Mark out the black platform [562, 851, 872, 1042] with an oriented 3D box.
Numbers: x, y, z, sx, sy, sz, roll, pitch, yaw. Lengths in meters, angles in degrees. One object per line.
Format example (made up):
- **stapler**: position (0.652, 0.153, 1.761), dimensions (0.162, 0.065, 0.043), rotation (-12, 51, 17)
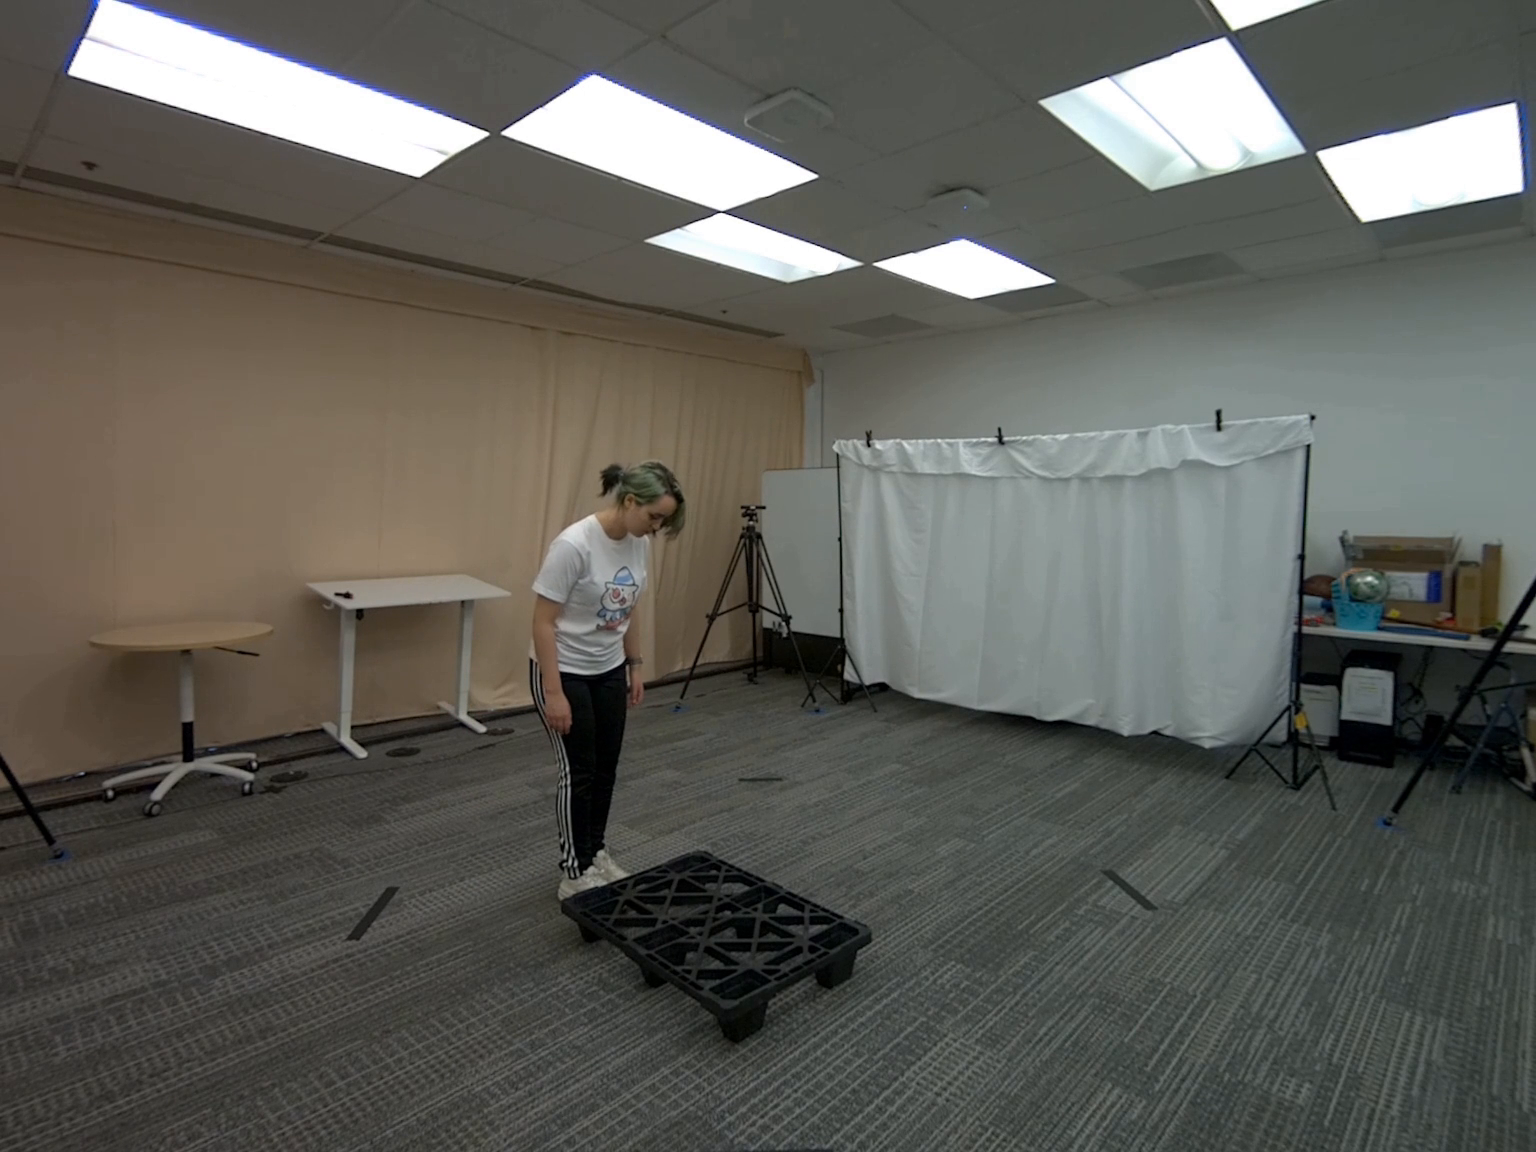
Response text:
- **black platform**: position (-0.172, 1.113, 2.592), dimensions (0.587, 0.143, 0.832), rotation (-5, 7, -43)
